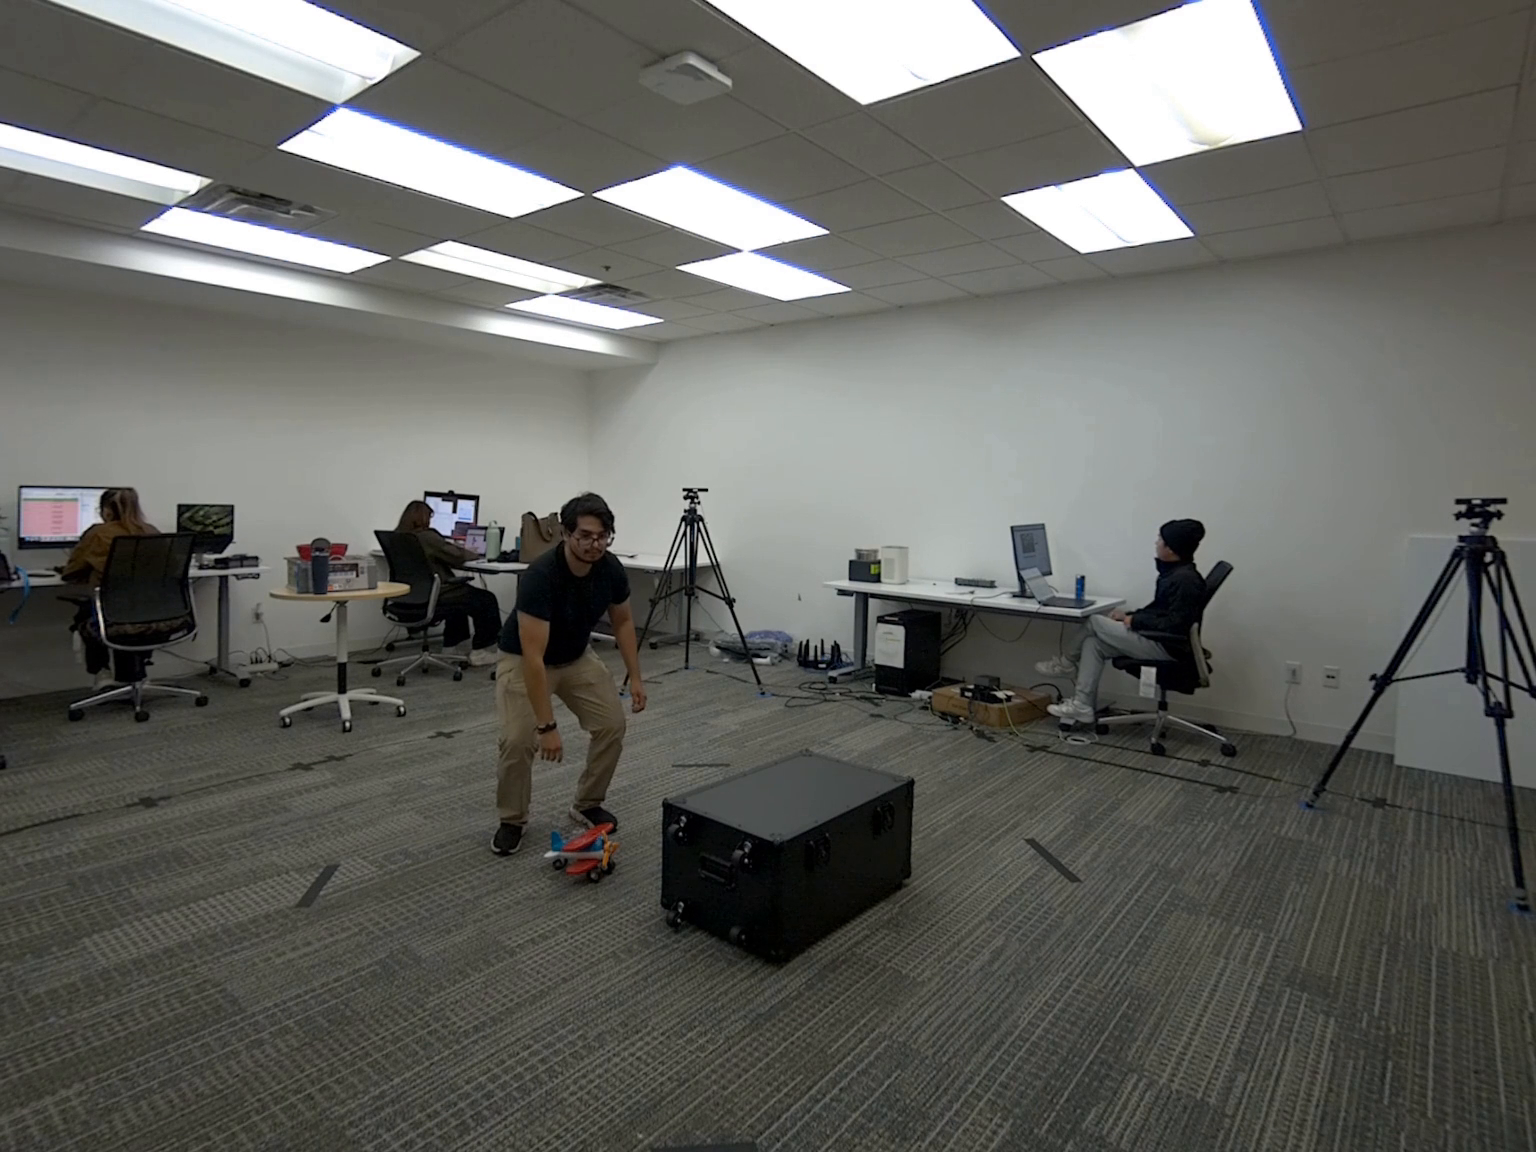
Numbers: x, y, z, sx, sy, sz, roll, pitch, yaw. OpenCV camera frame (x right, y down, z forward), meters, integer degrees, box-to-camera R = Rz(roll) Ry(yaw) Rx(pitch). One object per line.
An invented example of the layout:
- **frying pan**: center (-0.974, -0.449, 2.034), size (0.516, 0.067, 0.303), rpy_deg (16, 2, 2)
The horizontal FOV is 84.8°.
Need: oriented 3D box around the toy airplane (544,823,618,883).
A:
- **toy airplane**: center (-0.685, 0.998, 3.046), size (0.258, 0.156, 0.253), rpy_deg (1, 5, -4)
